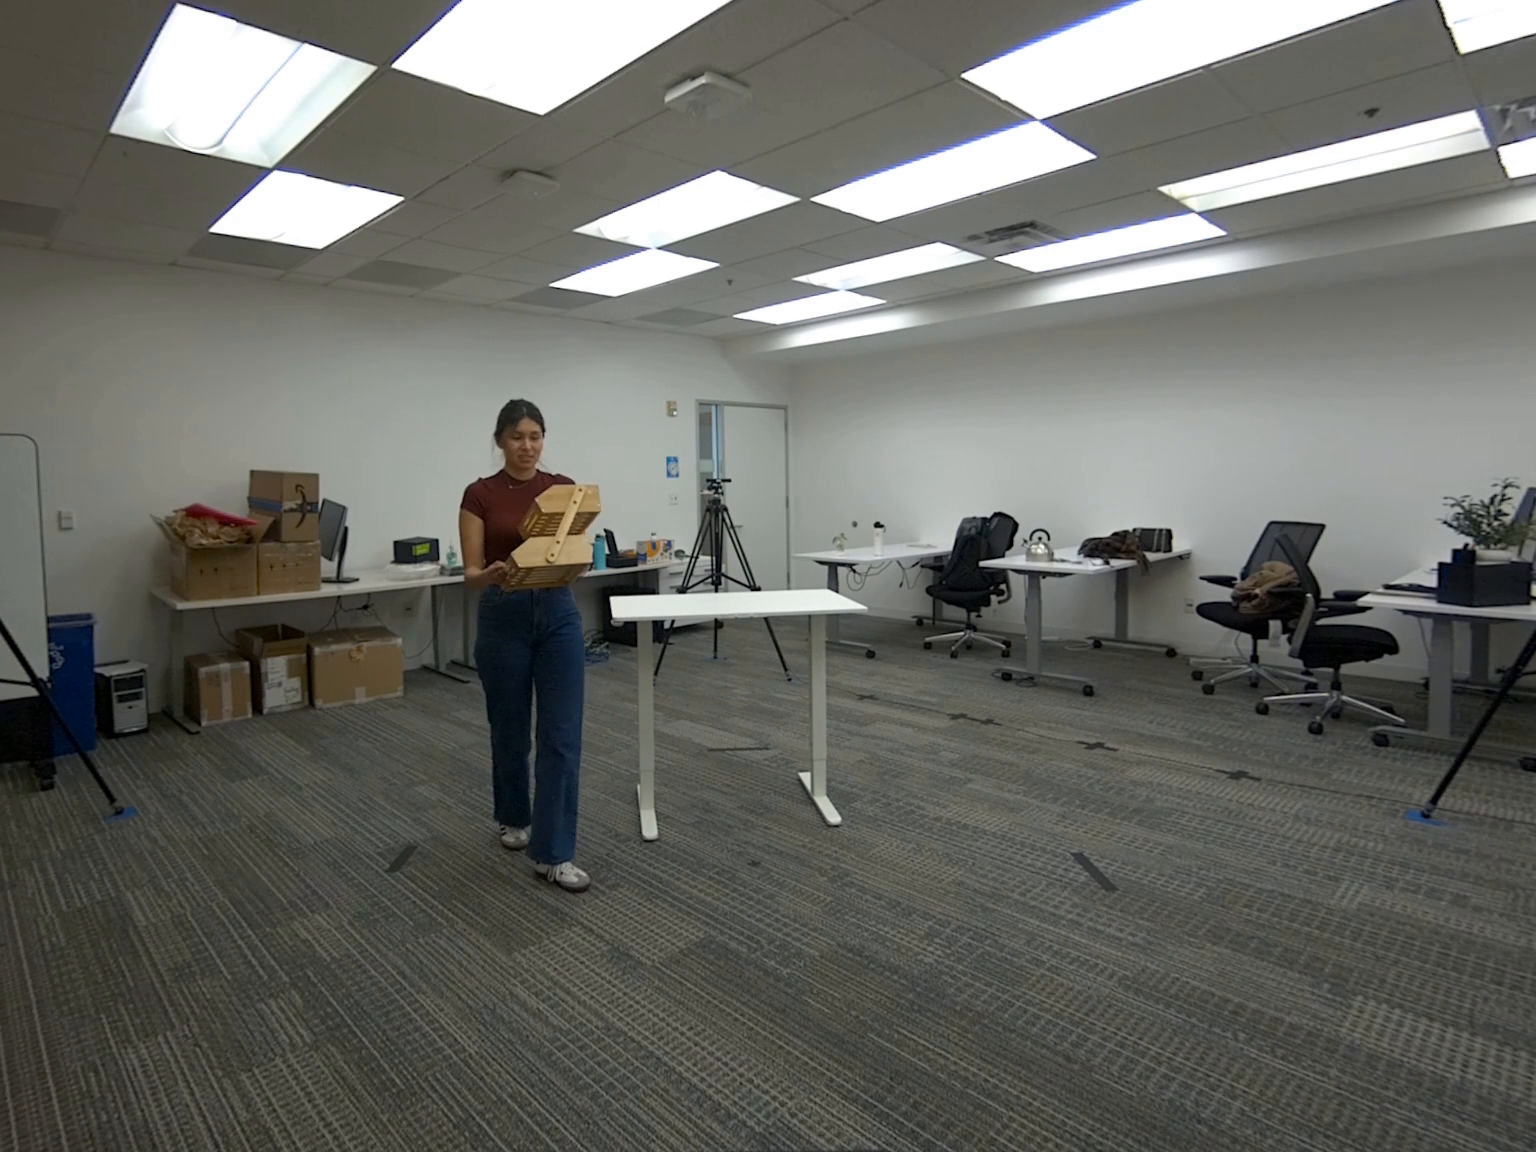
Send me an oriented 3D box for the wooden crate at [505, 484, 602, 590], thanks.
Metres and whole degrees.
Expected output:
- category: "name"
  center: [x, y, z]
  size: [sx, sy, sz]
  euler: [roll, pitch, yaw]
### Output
- category: "wooden crate"
  center: [-0.728, -0.130, 2.800]
  size: [0.296, 0.277, 0.326]
  euler: [-3, -15, -25]
